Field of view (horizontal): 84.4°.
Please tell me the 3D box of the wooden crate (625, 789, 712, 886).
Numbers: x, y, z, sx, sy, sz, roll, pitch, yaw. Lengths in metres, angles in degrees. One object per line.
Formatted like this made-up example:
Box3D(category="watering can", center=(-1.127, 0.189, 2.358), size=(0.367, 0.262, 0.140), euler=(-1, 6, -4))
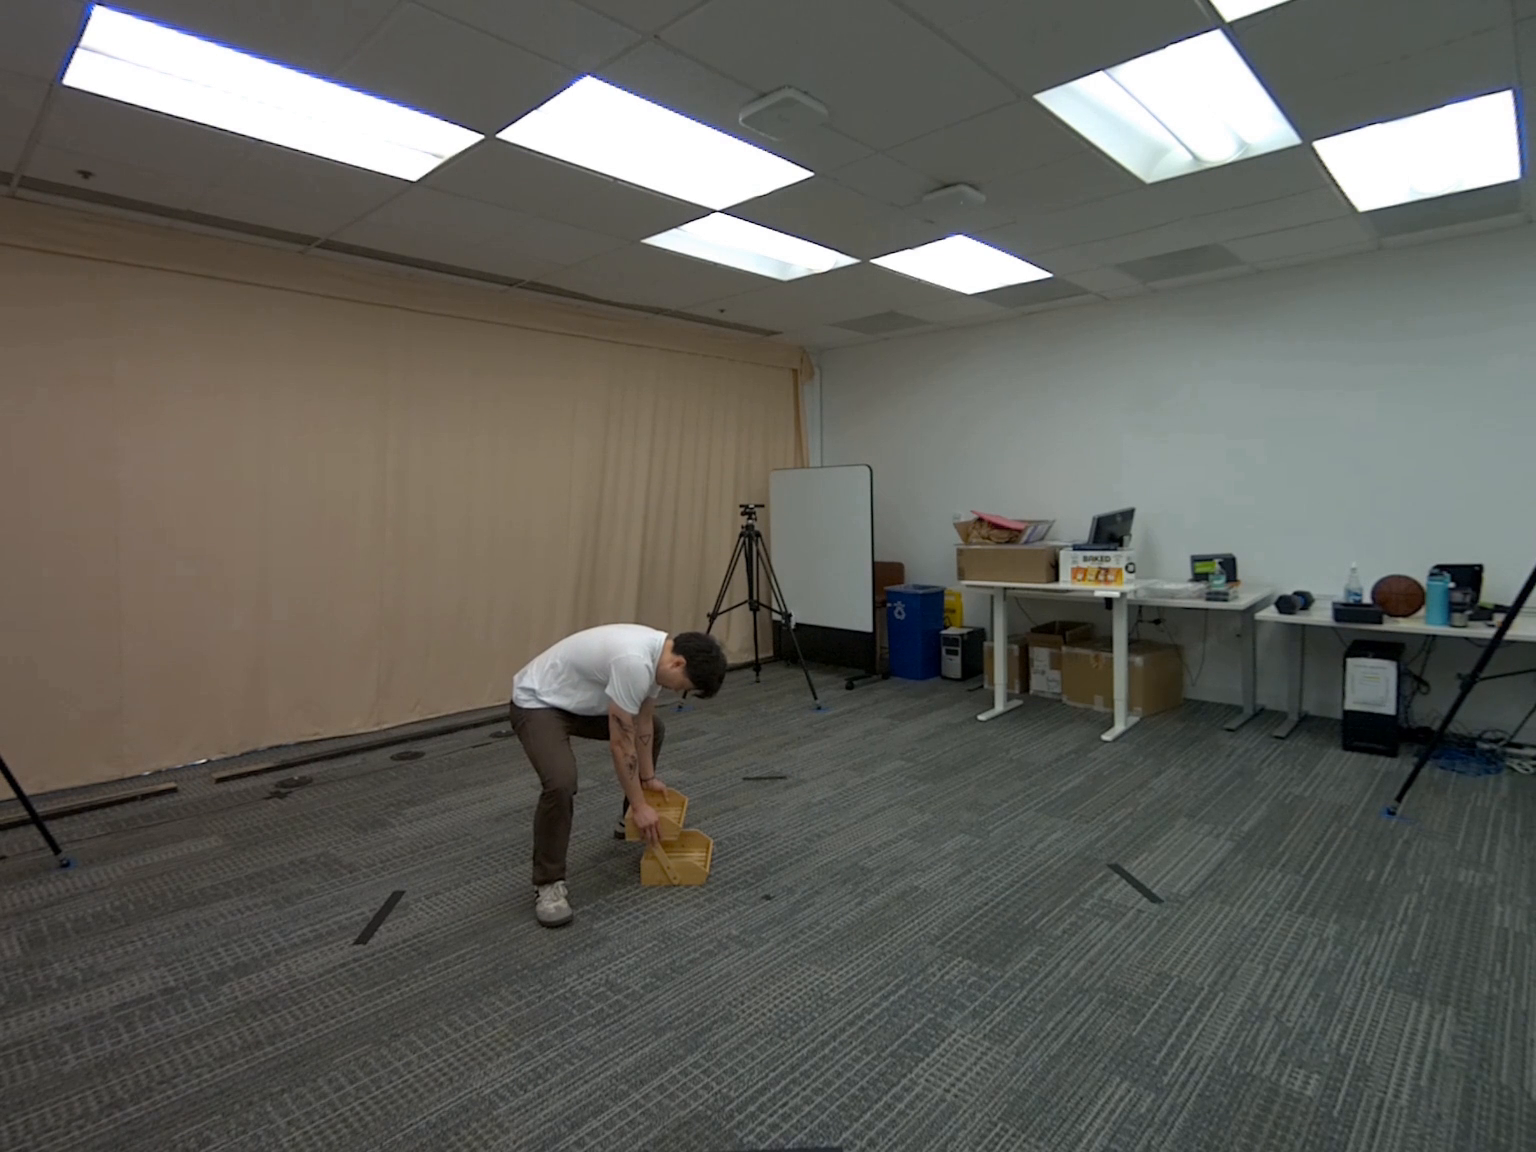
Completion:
Box3D(category="wooden crate", center=(-0.372, 0.994, 3.237), size=(0.303, 0.272, 0.324), euler=(-2, 4, 1))
